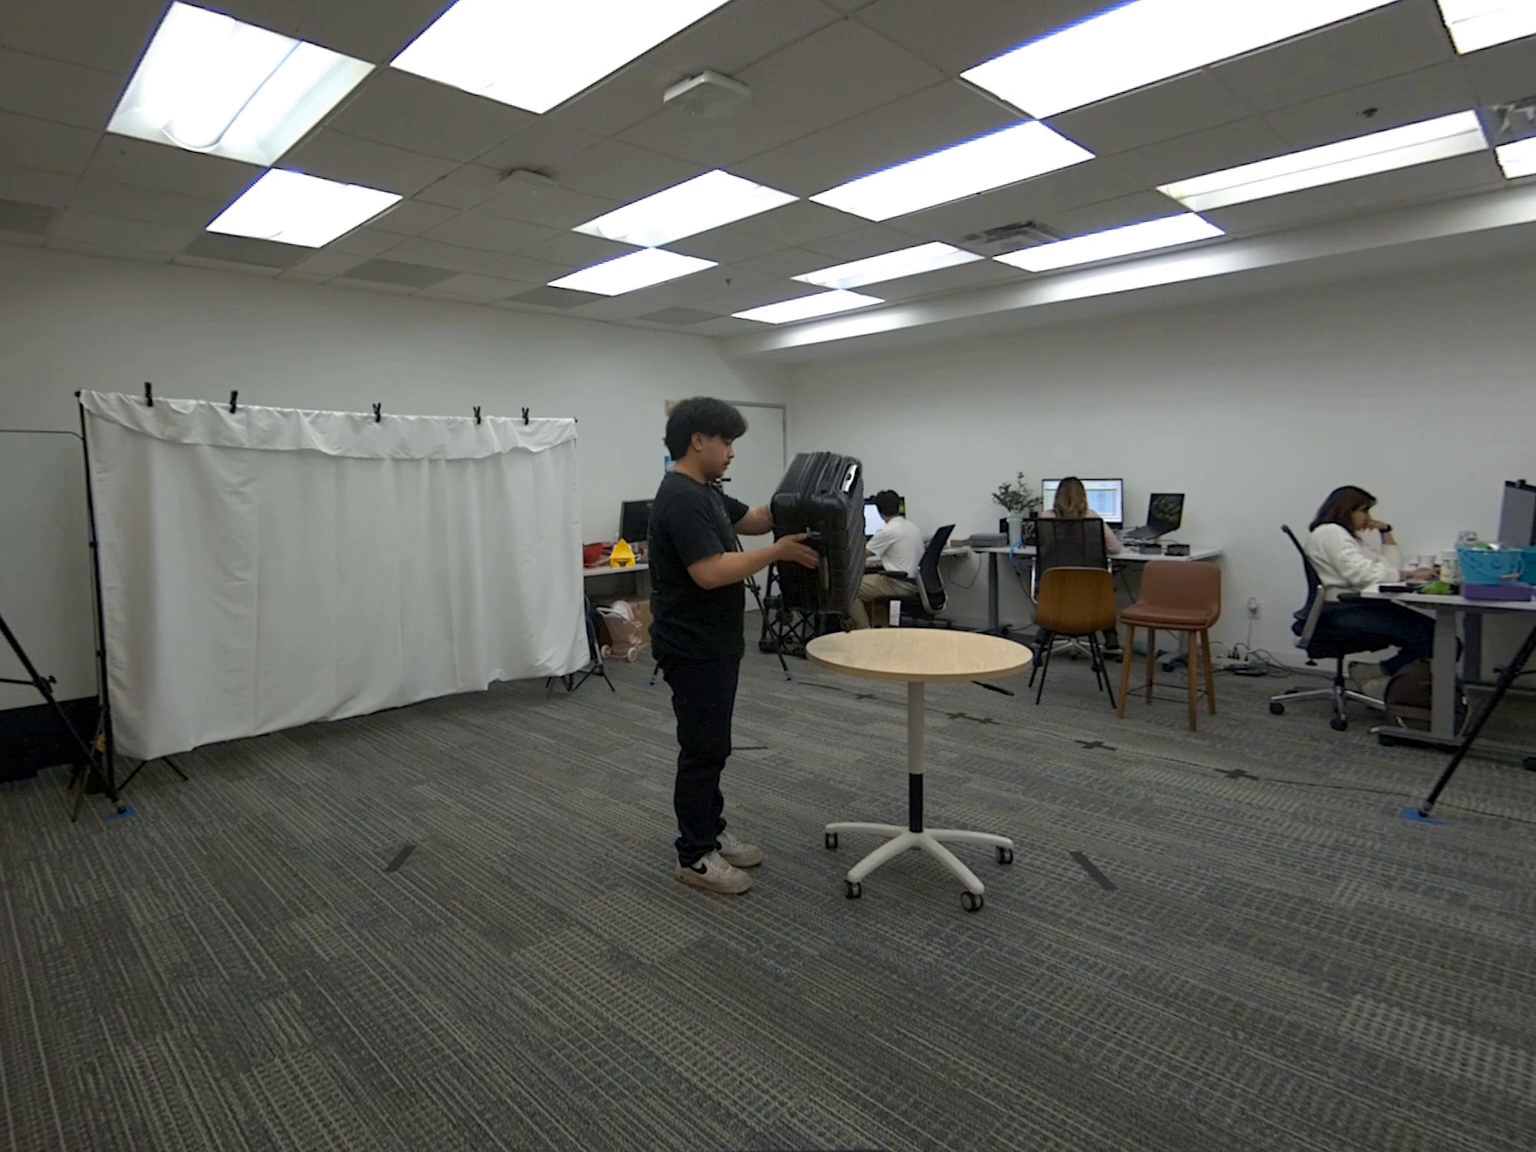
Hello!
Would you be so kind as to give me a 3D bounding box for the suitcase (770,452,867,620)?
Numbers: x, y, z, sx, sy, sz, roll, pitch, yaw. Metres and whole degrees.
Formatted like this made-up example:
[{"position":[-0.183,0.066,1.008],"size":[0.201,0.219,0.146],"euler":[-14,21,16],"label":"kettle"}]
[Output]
[{"position":[0.180,-0.133,2.971],"size":[0.253,0.533,0.379],"euler":[7,40,18],"label":"suitcase"}]
